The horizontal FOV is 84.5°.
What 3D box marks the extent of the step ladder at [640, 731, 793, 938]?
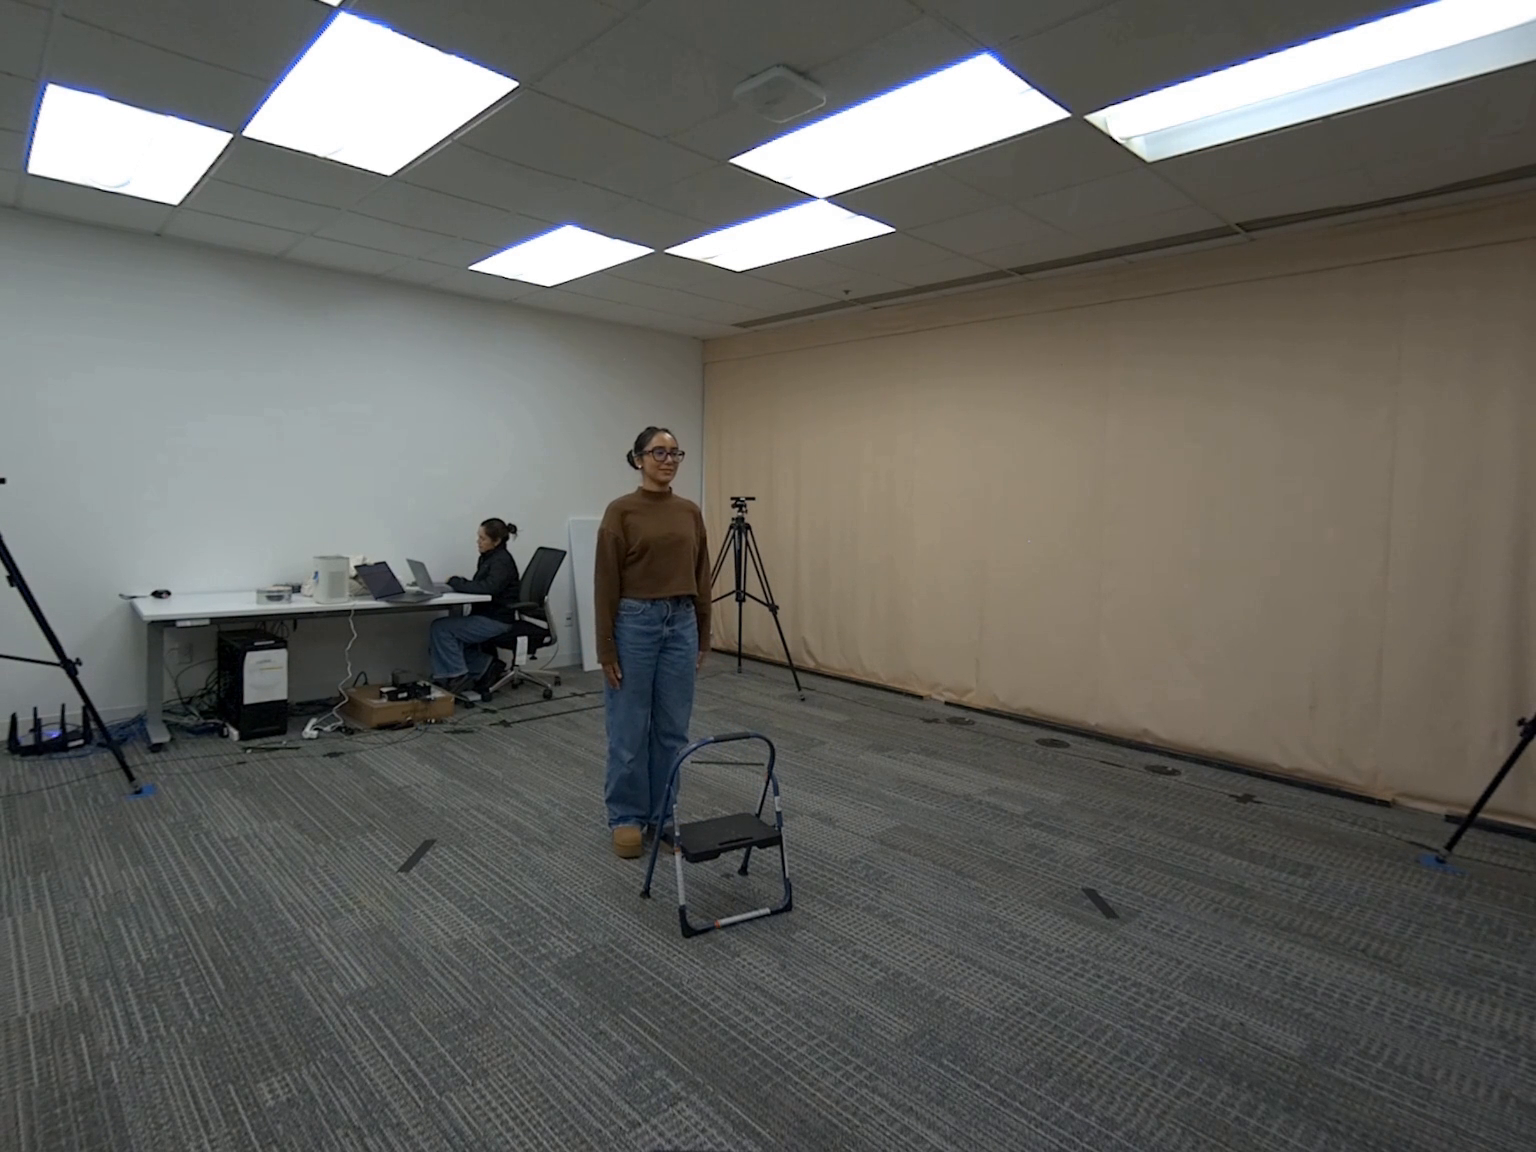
[{"bbox_3d":[-0.177,0.821,2.883,0.422,0.604,0.357,-1,4,-32],"label":"step ladder"}]
